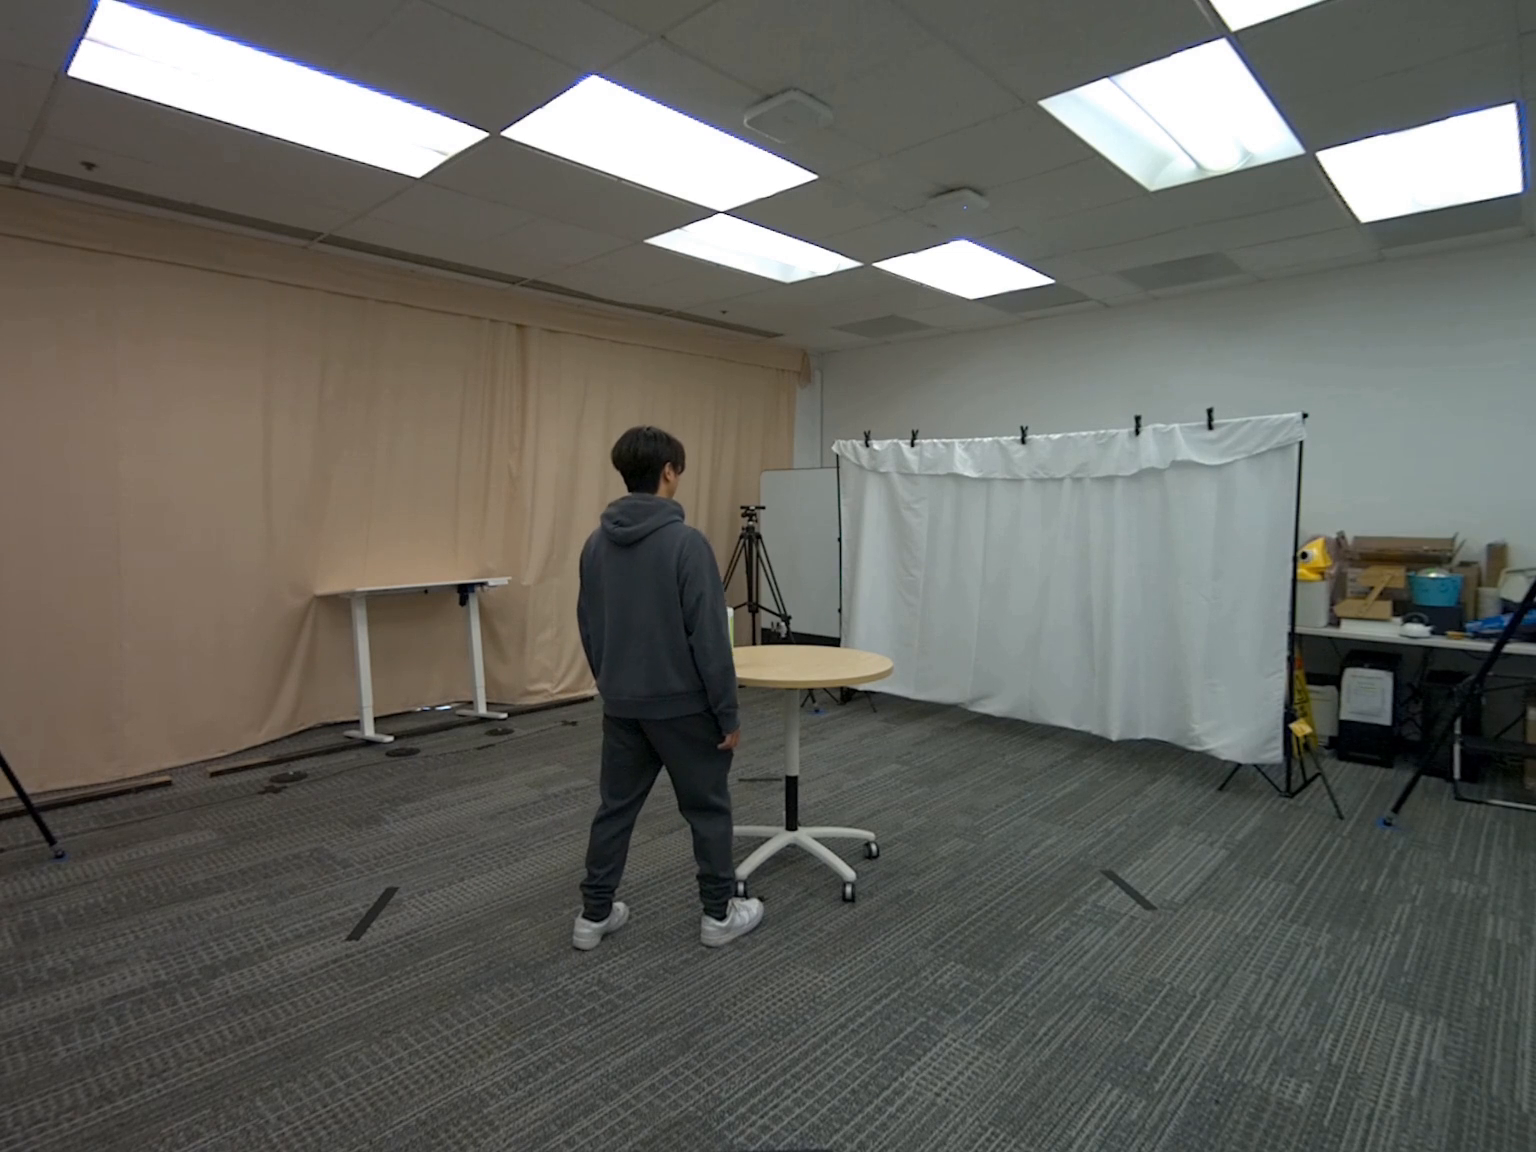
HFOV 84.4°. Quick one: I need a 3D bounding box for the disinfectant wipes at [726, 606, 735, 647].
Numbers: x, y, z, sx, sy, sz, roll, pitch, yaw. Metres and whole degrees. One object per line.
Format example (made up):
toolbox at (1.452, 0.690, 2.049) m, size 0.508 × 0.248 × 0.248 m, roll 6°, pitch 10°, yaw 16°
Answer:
disinfectant wipes at (-0.182, 0.224, 3.126) m, size 0.118 × 0.217 × 0.118 m, roll -2°, pitch 1°, yaw -2°
